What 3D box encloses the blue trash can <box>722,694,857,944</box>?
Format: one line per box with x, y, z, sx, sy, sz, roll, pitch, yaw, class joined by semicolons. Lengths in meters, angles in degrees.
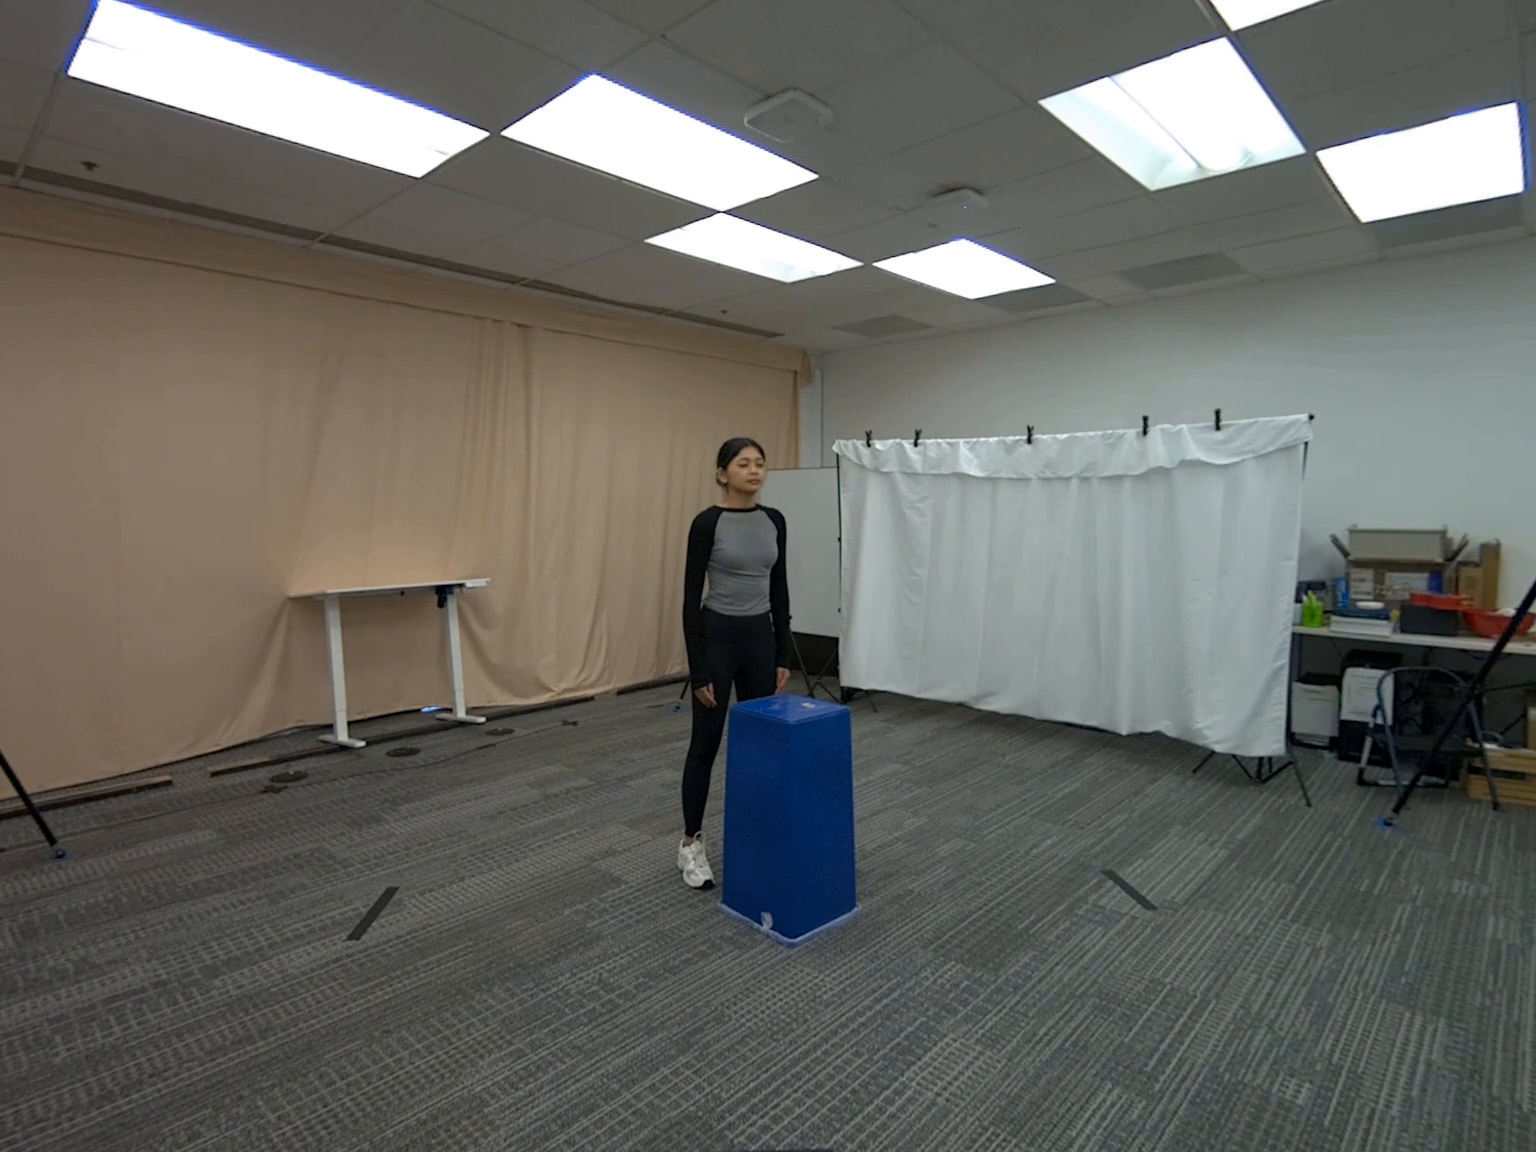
0.085;0.800;2.880;0.362;0.712;0.391;-2;4;-43;blue trash can
